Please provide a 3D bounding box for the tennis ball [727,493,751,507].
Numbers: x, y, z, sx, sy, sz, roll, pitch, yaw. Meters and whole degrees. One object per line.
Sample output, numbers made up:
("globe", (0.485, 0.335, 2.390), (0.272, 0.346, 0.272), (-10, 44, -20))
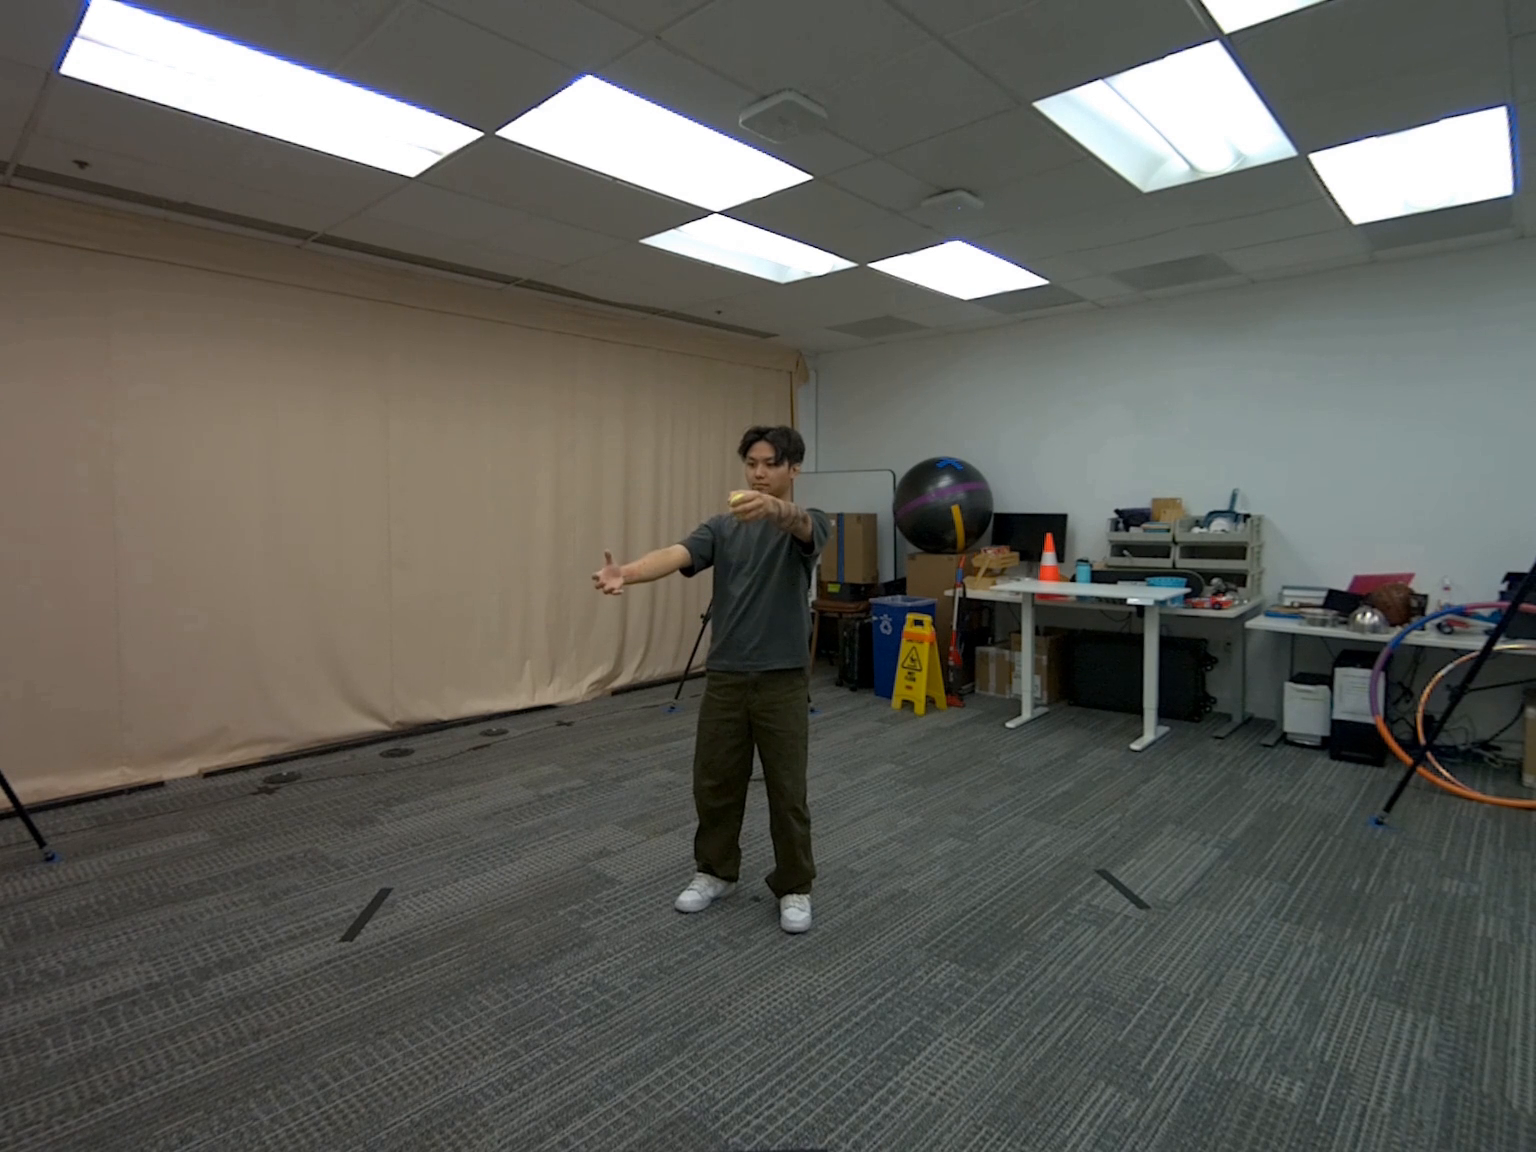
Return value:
("tennis ball", (-0.062, -0.168, 2.304), (0.066, 0.066, 0.067), (0, 4, -2))
